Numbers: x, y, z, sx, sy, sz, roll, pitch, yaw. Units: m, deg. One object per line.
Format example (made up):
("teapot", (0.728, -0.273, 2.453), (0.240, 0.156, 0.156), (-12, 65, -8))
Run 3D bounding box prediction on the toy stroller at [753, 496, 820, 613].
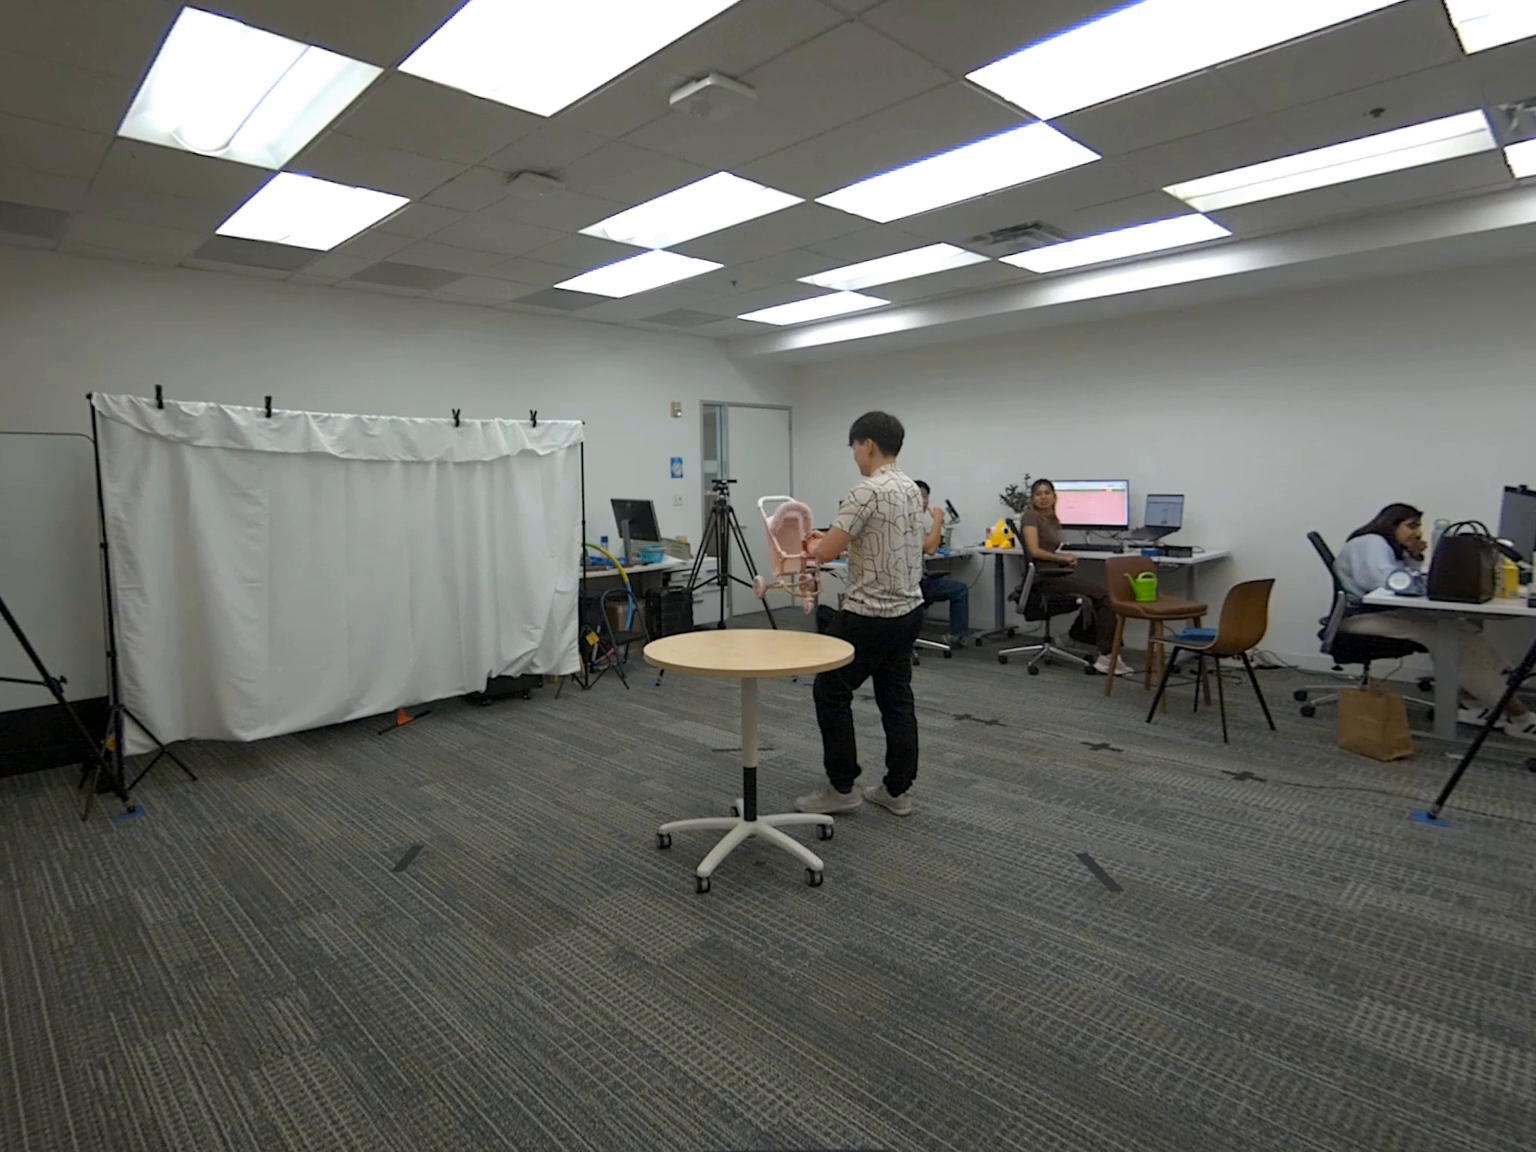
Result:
("toy stroller", (0.114, -0.103, 3.894), (0.276, 0.534, 0.348), (-2, 1, -23))
